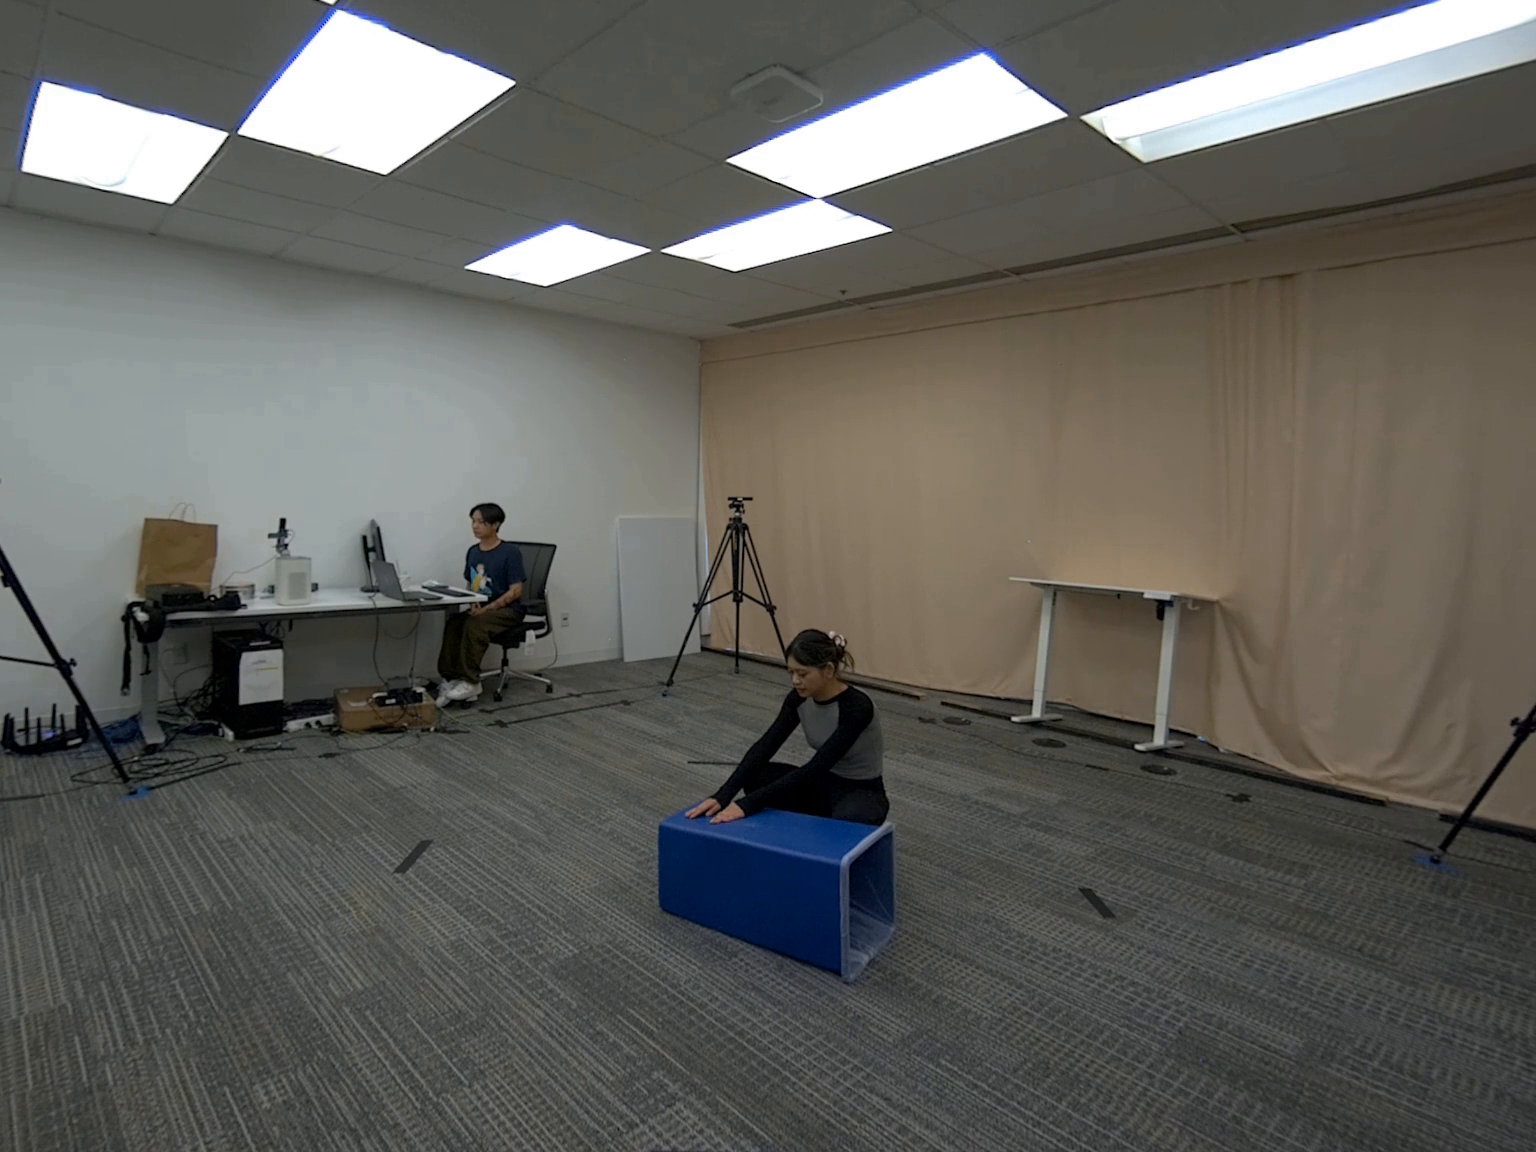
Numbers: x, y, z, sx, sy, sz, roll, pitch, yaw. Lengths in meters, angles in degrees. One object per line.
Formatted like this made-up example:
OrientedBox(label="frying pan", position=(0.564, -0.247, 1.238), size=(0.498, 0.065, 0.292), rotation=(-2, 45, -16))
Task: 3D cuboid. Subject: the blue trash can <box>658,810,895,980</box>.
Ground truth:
OrientedBox(label="blue trash can", position=(0.012, 0.975, 2.756), size=(0.729, 0.377, 0.367), rotation=(2, 5, 33))
